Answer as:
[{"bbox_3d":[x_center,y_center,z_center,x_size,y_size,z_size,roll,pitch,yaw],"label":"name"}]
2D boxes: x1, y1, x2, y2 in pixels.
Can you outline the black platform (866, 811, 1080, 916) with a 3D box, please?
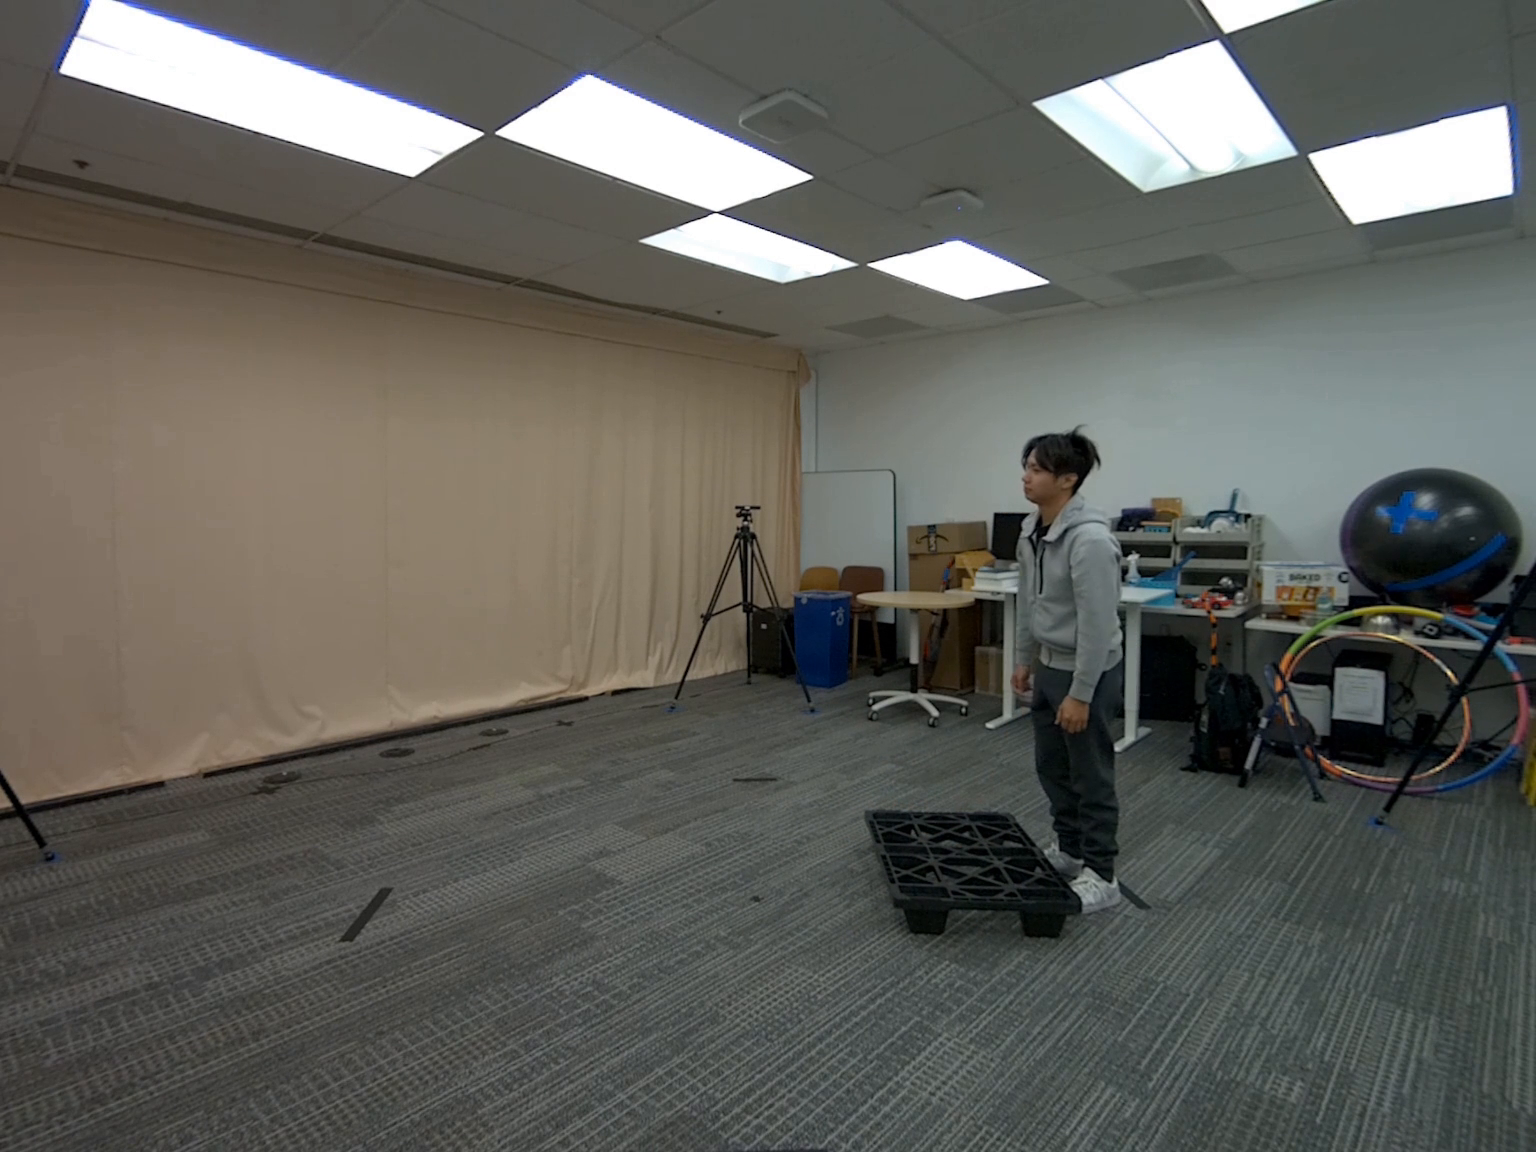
[{"bbox_3d":[0.704,1.065,3.081,0.607,0.143,0.806,1,5,1],"label":"black platform"}]
